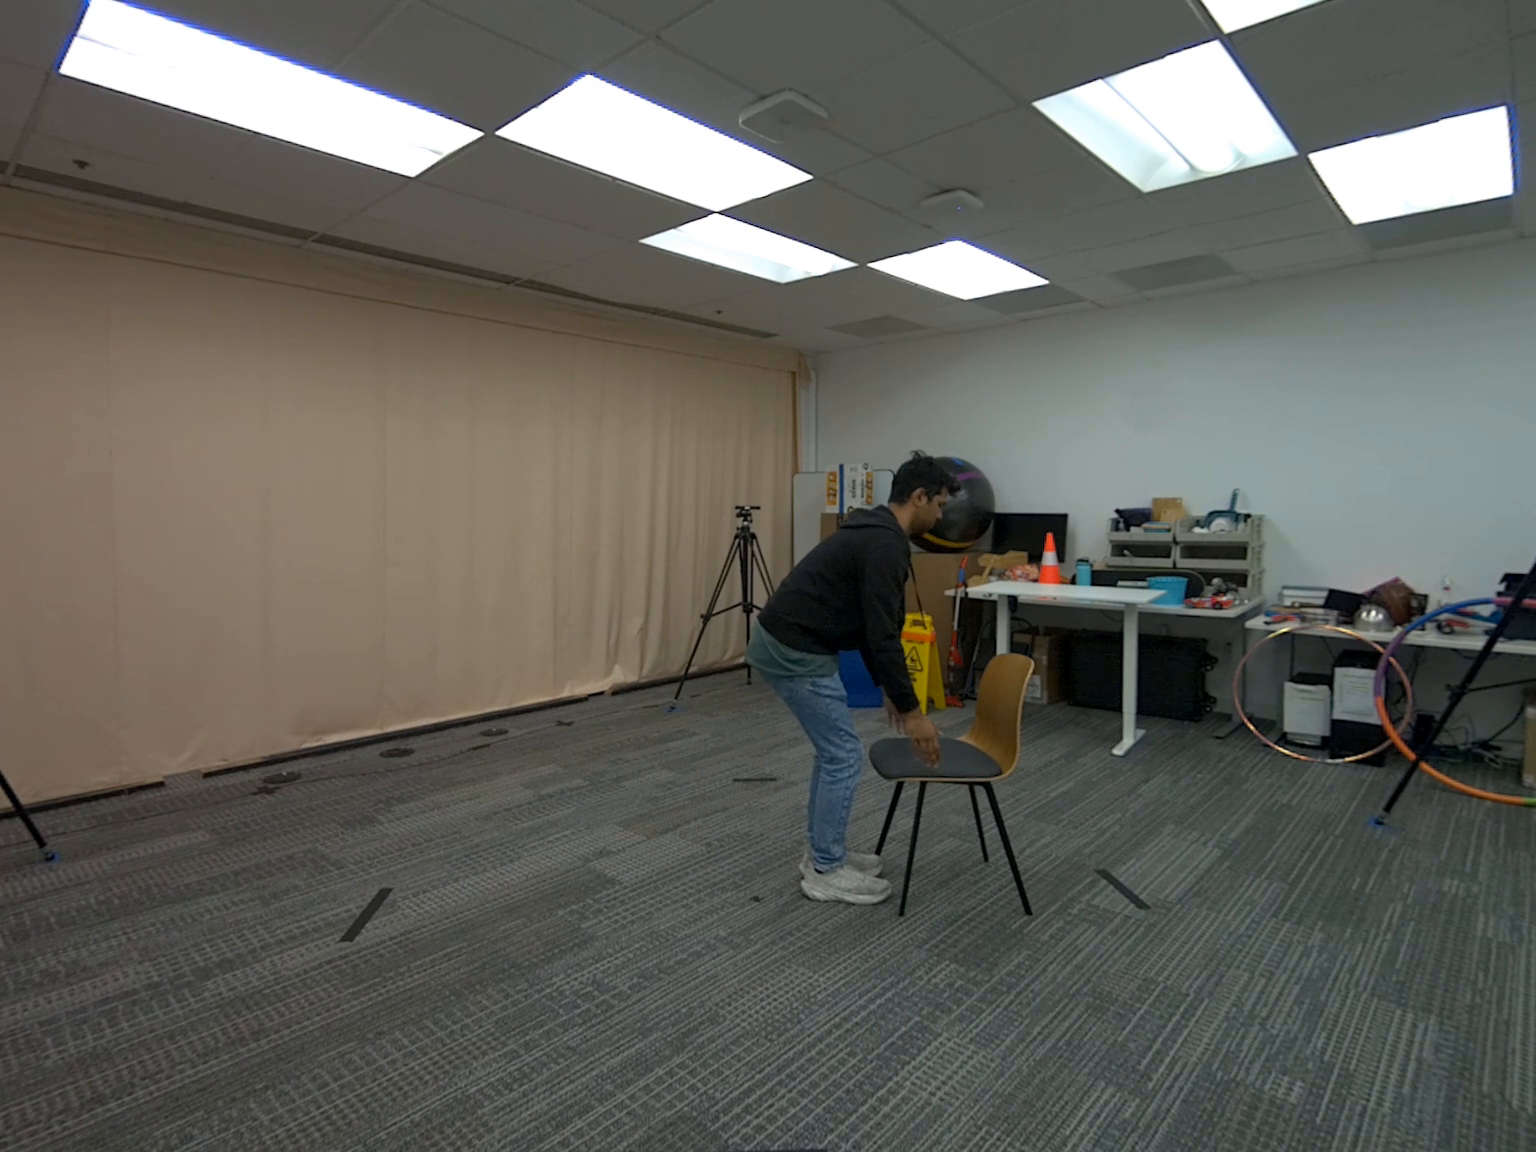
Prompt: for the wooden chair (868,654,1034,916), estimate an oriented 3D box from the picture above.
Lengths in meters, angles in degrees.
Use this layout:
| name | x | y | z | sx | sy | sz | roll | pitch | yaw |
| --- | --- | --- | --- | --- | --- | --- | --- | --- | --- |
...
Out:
| name | x | y | z | sx | sy | sz | roll | pitch | yaw |
| --- | --- | --- | --- | --- | --- | --- | --- | --- | --- |
| wooden chair | 0.650 | 0.708 | 3.041 | 0.522 | 0.876 | 0.480 | 4 | 3 | -3 |
